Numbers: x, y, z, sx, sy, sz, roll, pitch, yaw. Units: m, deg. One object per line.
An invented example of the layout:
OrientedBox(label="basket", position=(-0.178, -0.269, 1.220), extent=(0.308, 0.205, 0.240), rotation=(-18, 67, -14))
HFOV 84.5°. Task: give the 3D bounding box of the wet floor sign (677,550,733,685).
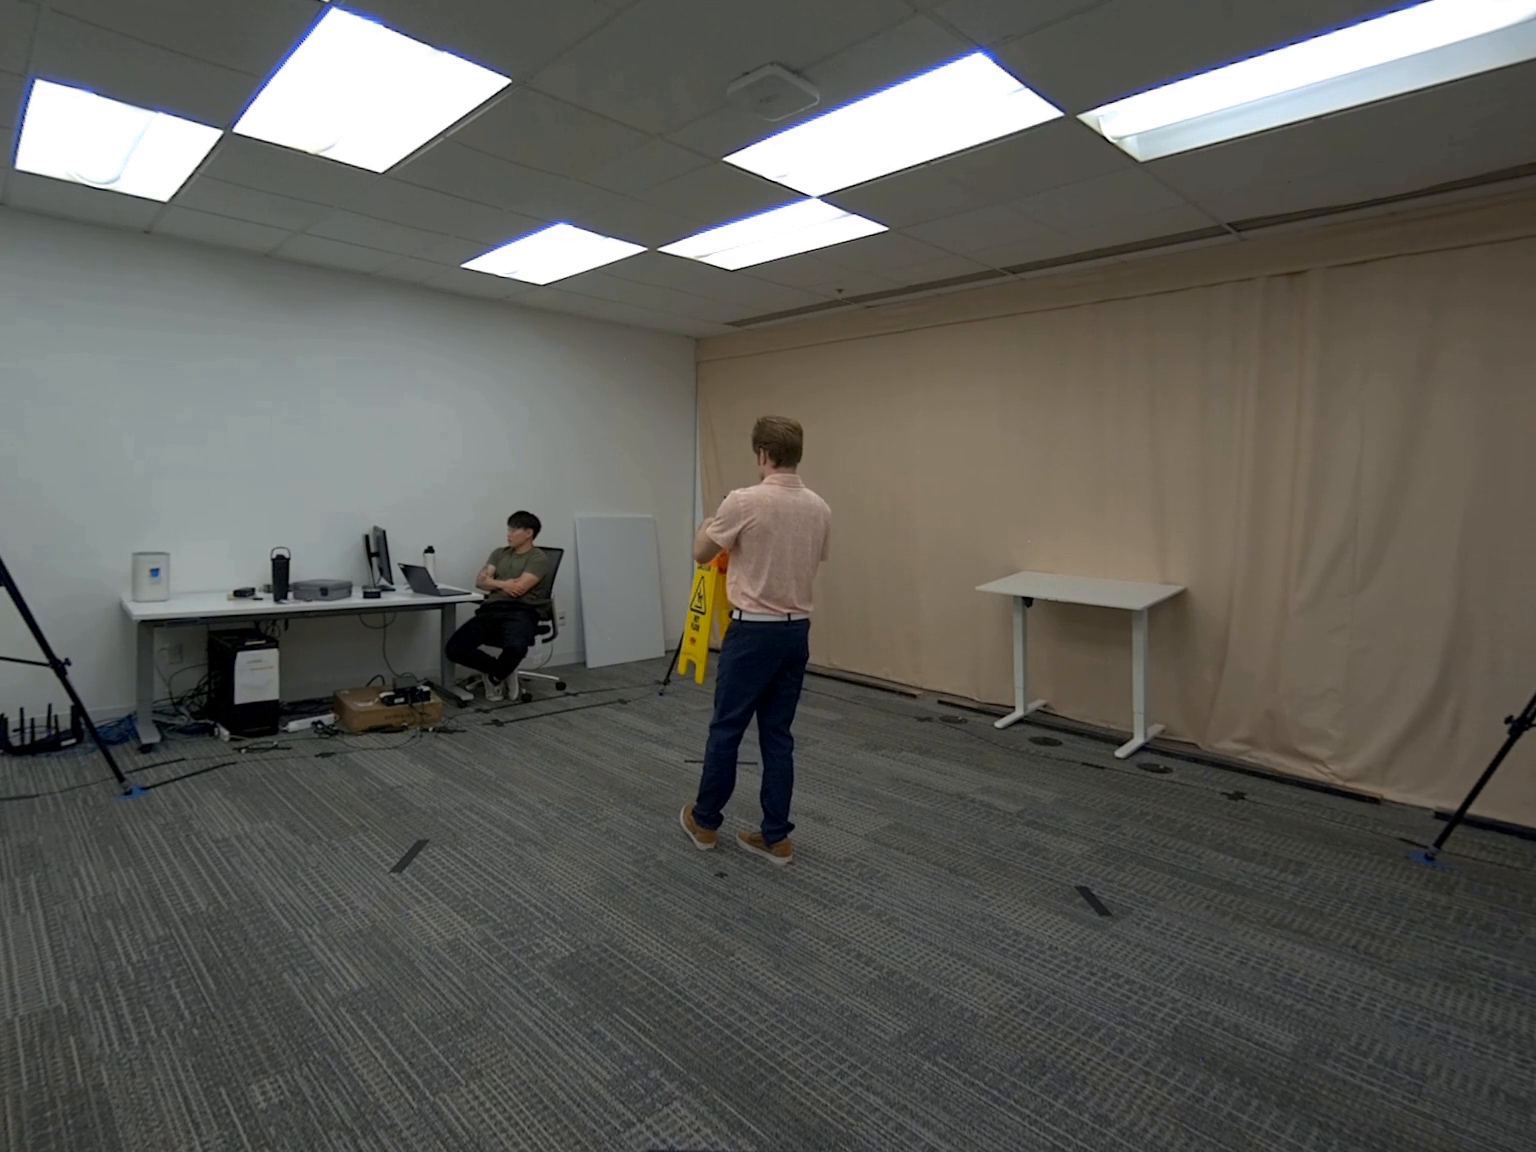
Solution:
OrientedBox(label="wet floor sign", position=(-0.245, 0.105, 3.627), extent=(0.285, 0.644, 0.288), rotation=(-3, 4, -25))
